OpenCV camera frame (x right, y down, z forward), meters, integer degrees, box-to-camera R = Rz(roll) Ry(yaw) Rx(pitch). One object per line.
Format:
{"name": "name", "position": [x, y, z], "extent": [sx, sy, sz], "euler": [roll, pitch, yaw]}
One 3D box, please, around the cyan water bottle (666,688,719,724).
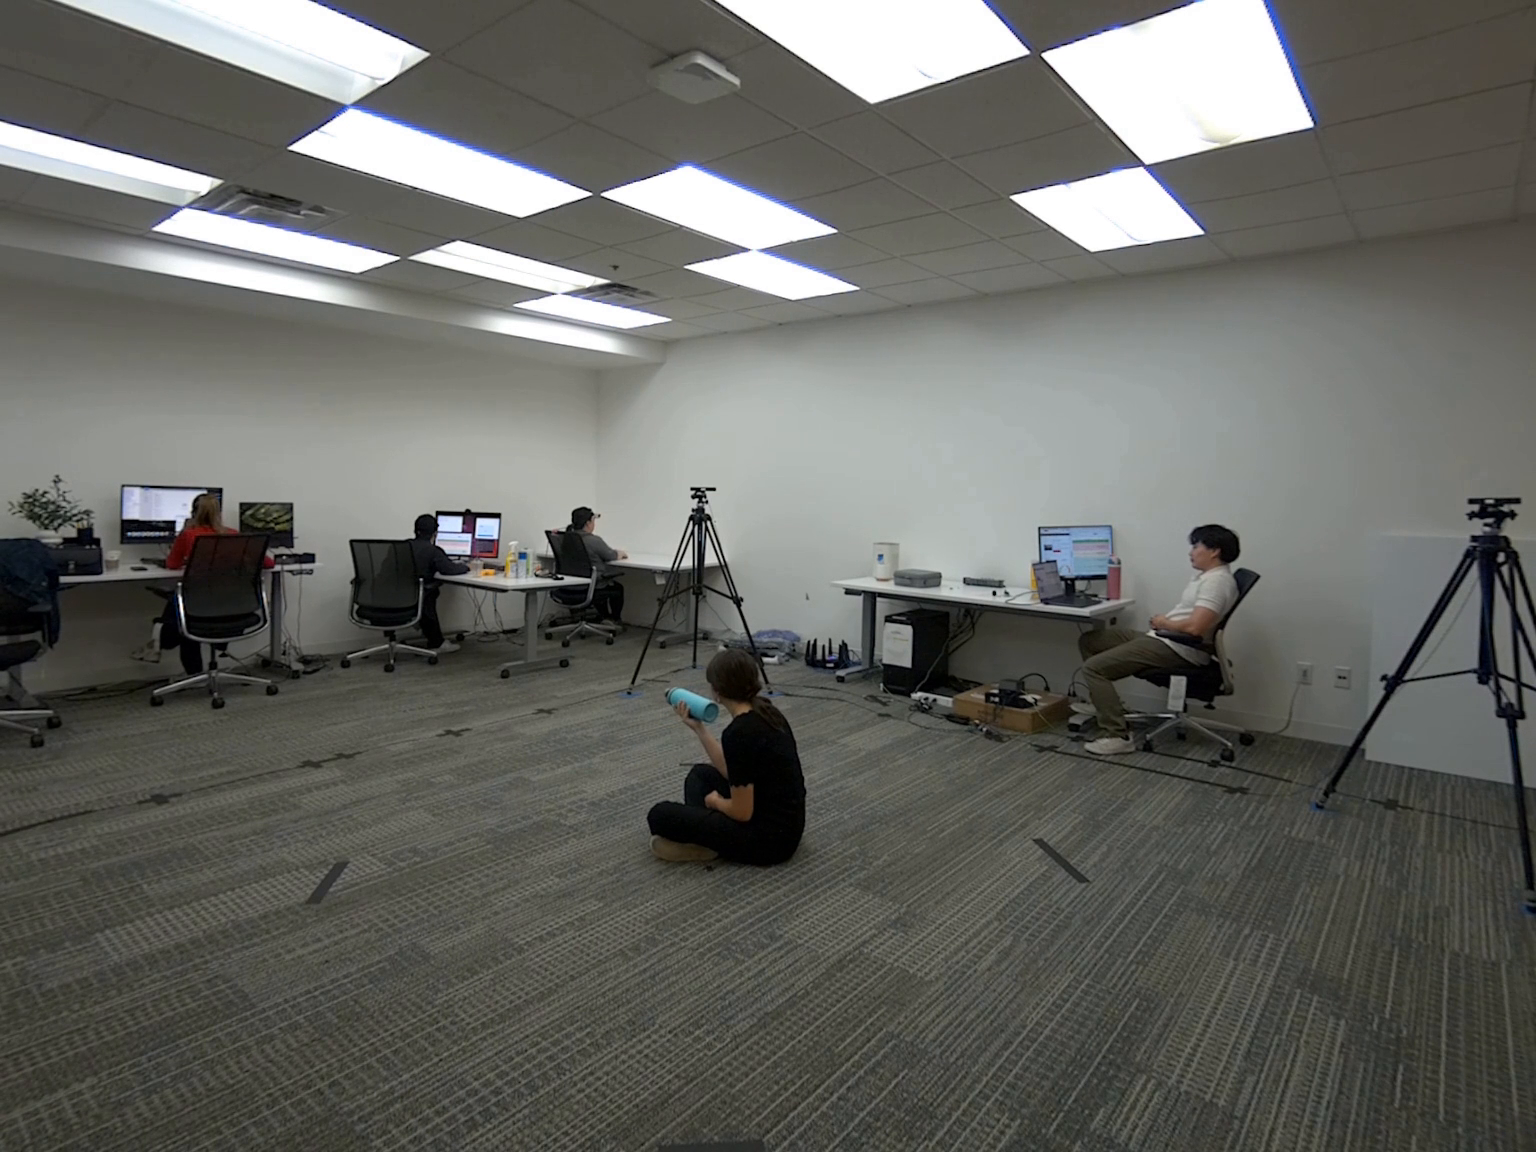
{"name": "cyan water bottle", "position": [-0.344, 0.537, 3.617], "extent": [0.089, 0.092, 0.294], "euler": [-3, 10, -44]}
